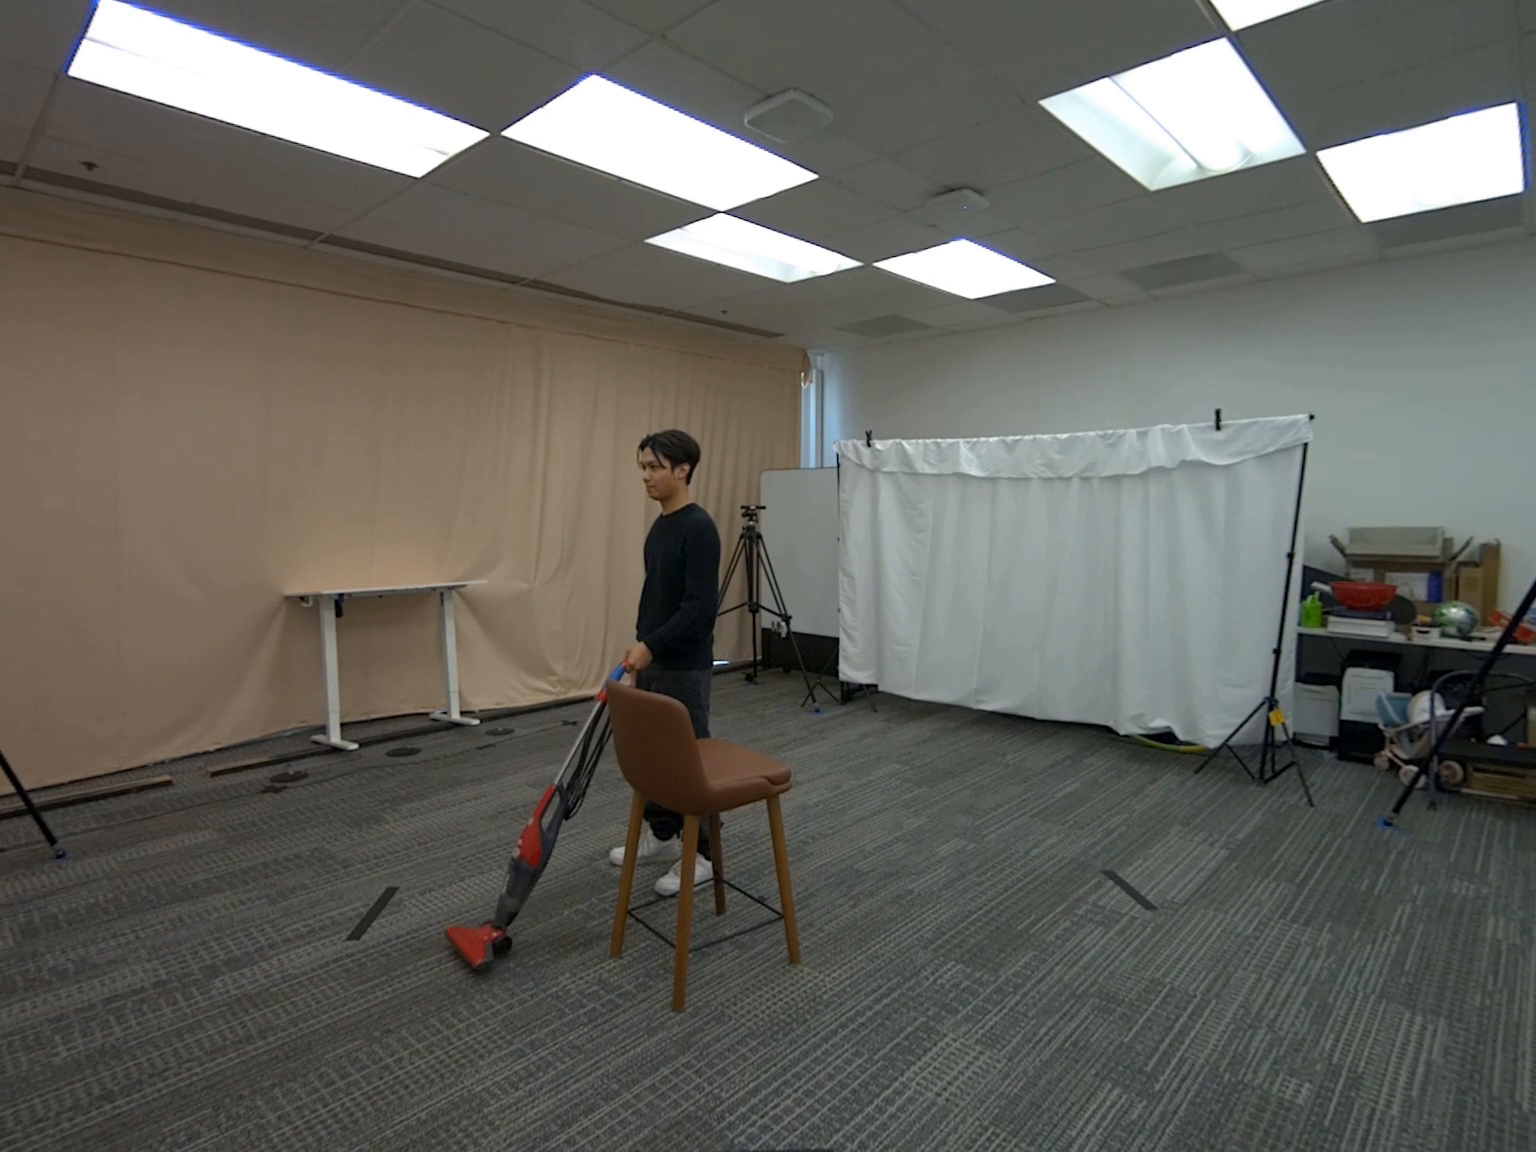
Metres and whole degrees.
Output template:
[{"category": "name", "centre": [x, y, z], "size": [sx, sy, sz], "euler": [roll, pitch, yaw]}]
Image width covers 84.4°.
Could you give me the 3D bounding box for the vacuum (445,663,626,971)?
[{"category": "vacuum", "centre": [-0.679, 0.712, 2.758], "size": [0.139, 1.050, 0.261], "euler": [39, -21, -34]}]
